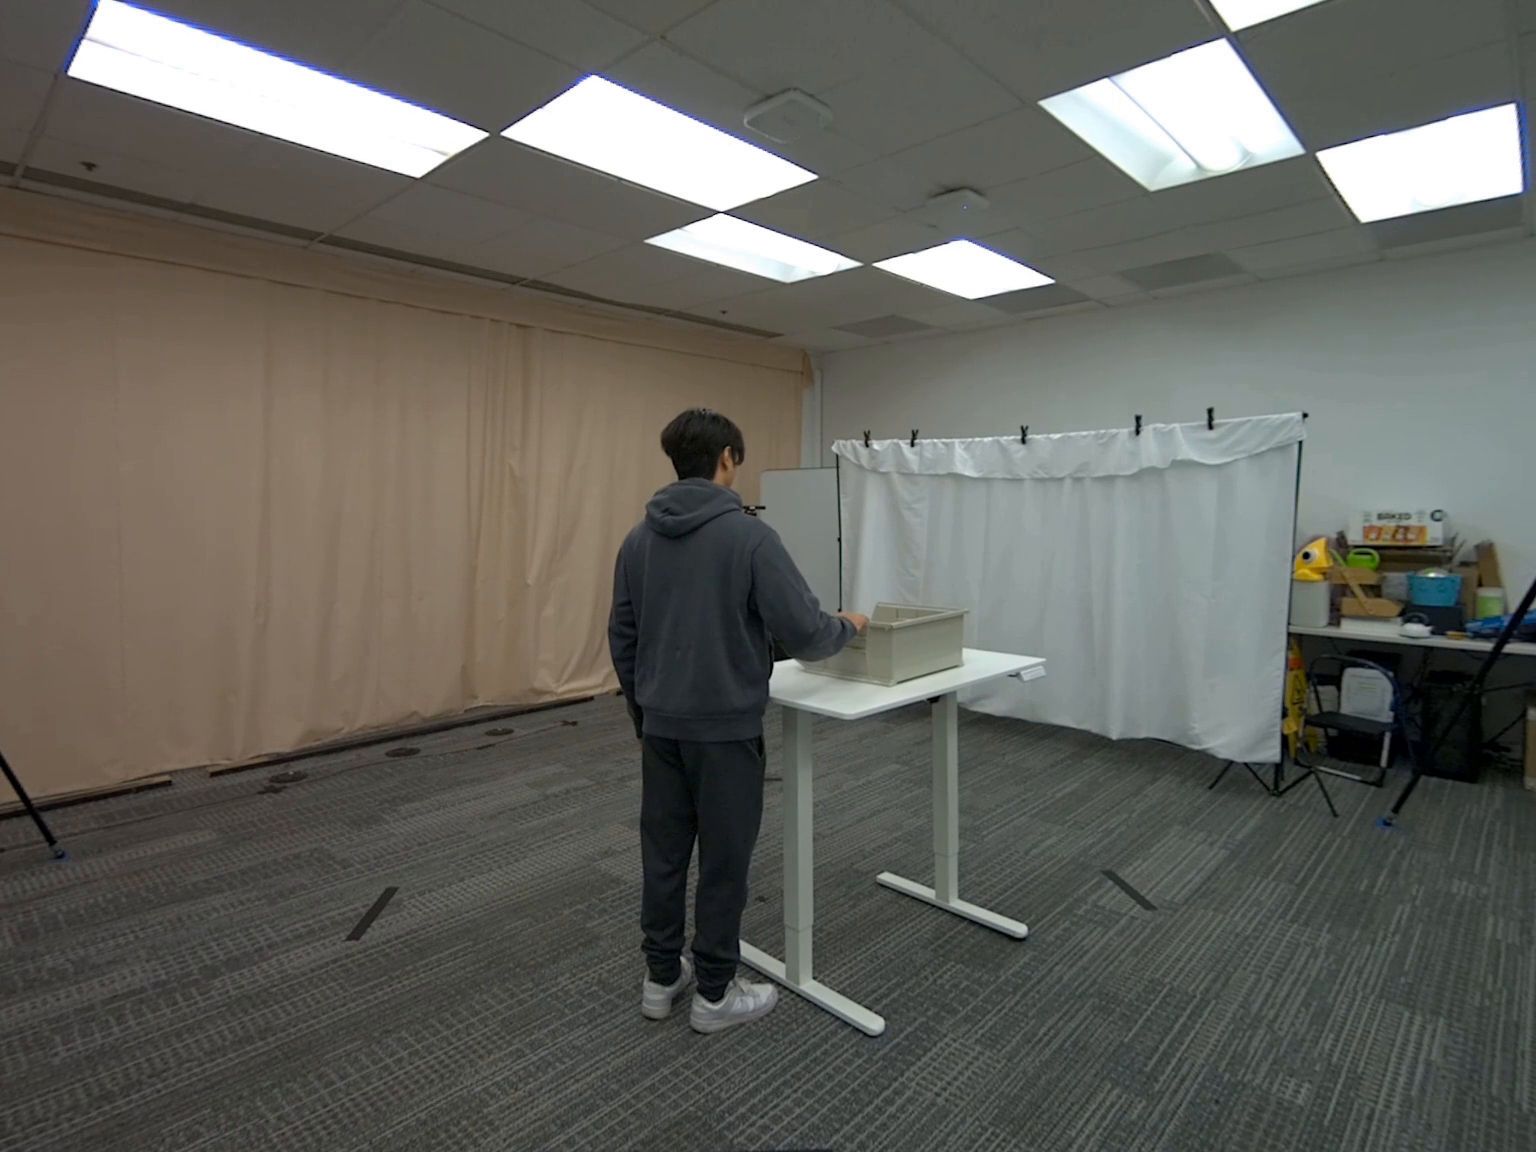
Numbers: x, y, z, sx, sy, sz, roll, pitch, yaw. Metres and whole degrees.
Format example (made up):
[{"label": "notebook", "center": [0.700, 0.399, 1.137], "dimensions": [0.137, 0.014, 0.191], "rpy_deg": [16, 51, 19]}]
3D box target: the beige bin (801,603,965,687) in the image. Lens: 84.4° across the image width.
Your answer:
[{"label": "beige bin", "center": [0.353, 0.201, 2.621], "dimensions": [0.390, 0.188, 0.409], "rpy_deg": [5, 7, 44]}]
